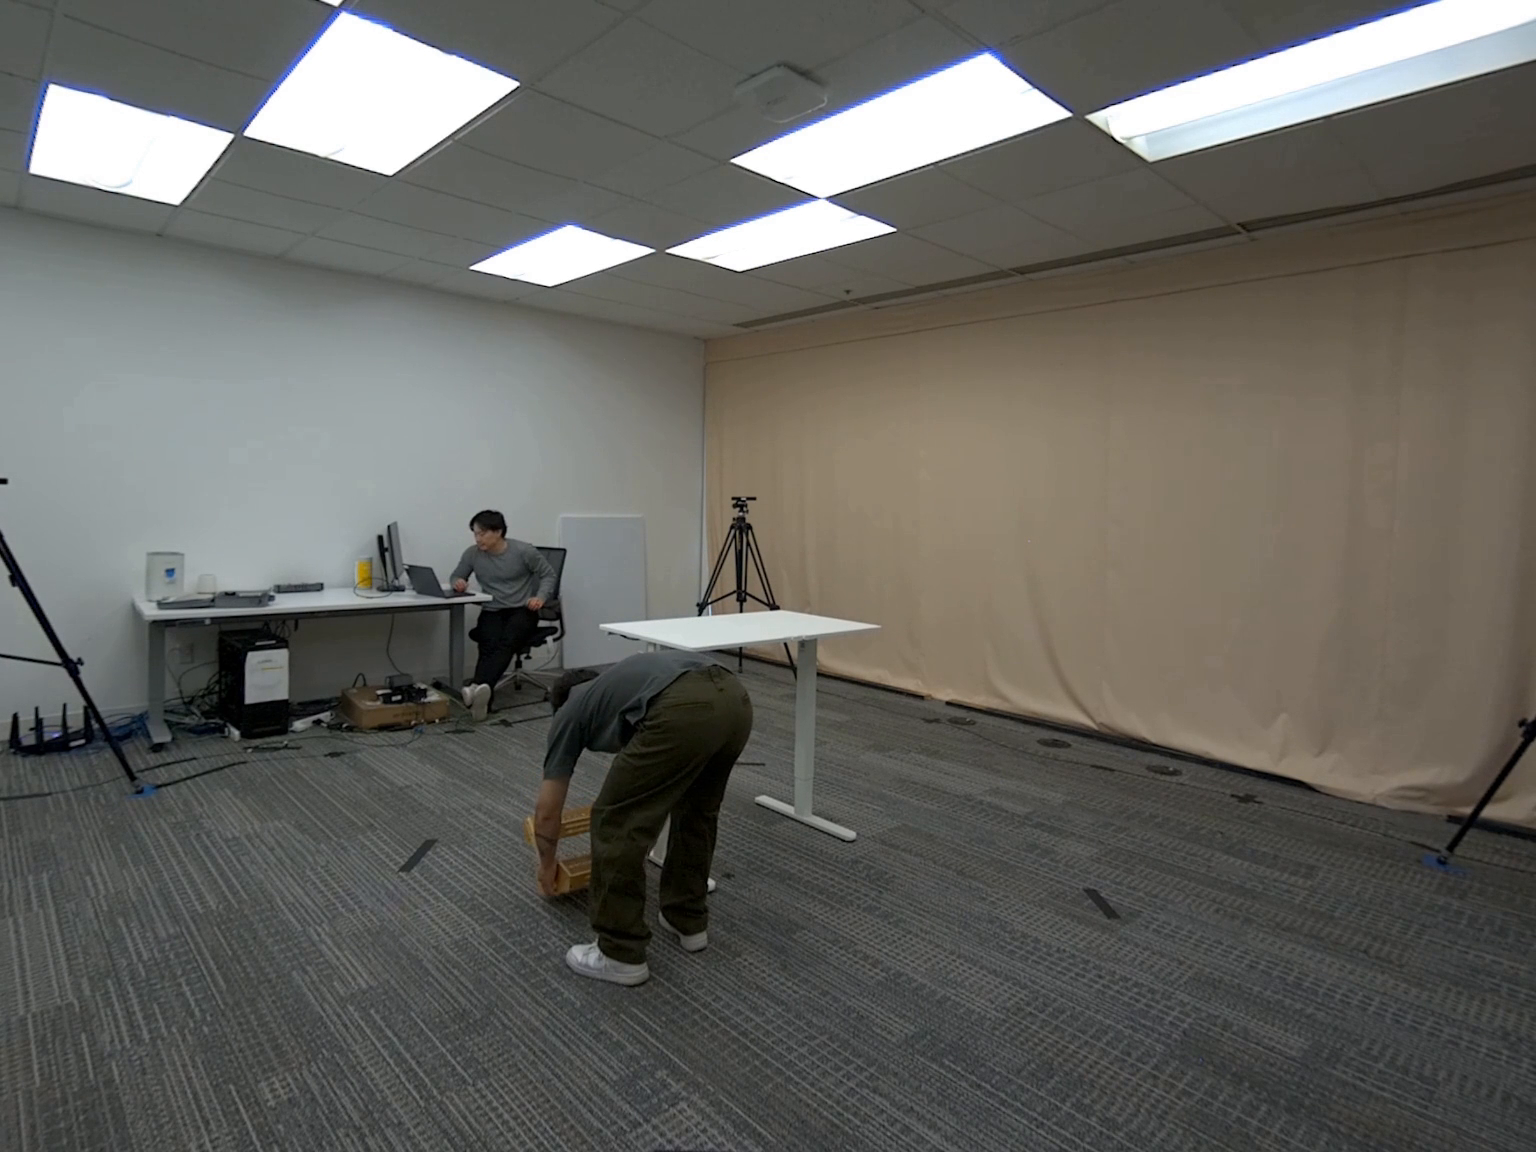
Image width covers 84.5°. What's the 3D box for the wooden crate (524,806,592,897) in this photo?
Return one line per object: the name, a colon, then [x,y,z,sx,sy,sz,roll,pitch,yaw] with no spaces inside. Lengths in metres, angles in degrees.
wooden crate: [-0.648,0.938,2.941,0.317,0.277,0.305,1,-21,-41]
